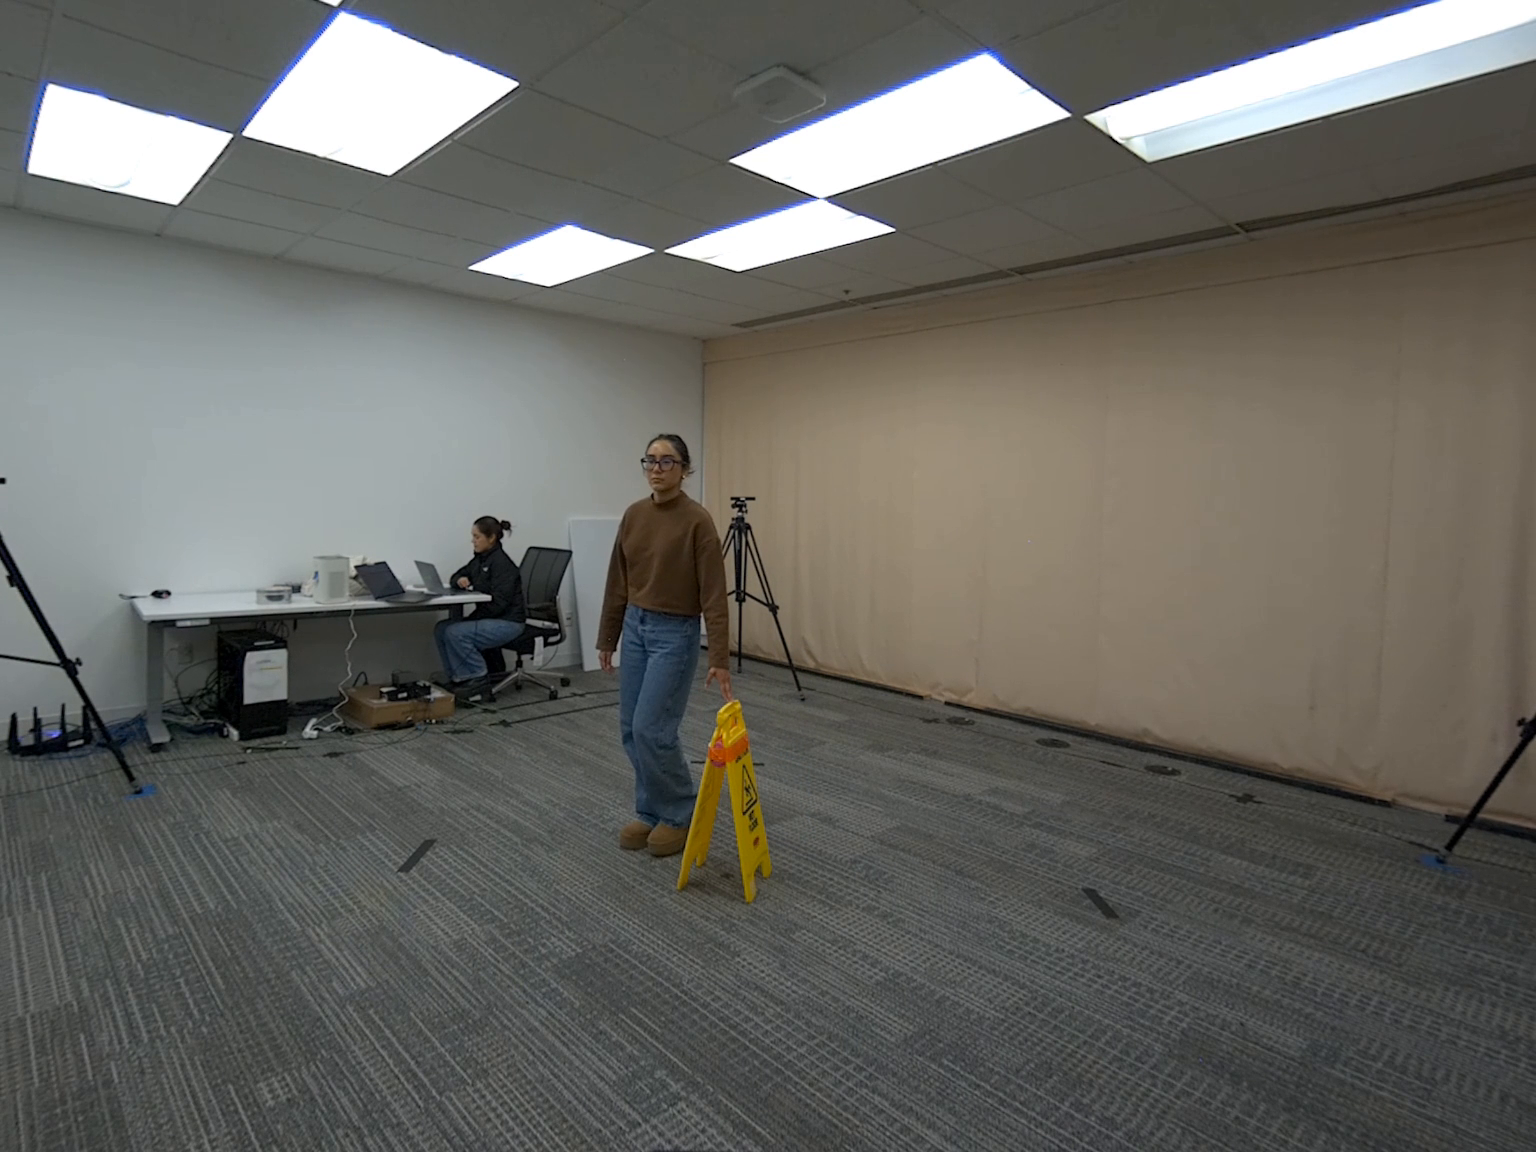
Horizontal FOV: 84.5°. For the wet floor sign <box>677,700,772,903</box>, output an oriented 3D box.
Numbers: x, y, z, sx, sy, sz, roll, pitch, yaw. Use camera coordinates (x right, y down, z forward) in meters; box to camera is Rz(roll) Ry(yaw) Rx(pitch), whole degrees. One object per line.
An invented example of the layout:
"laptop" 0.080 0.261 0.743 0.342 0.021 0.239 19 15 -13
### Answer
"wet floor sign" -0.149 0.790 3.041 0.294 0.644 0.279 3 5 17
